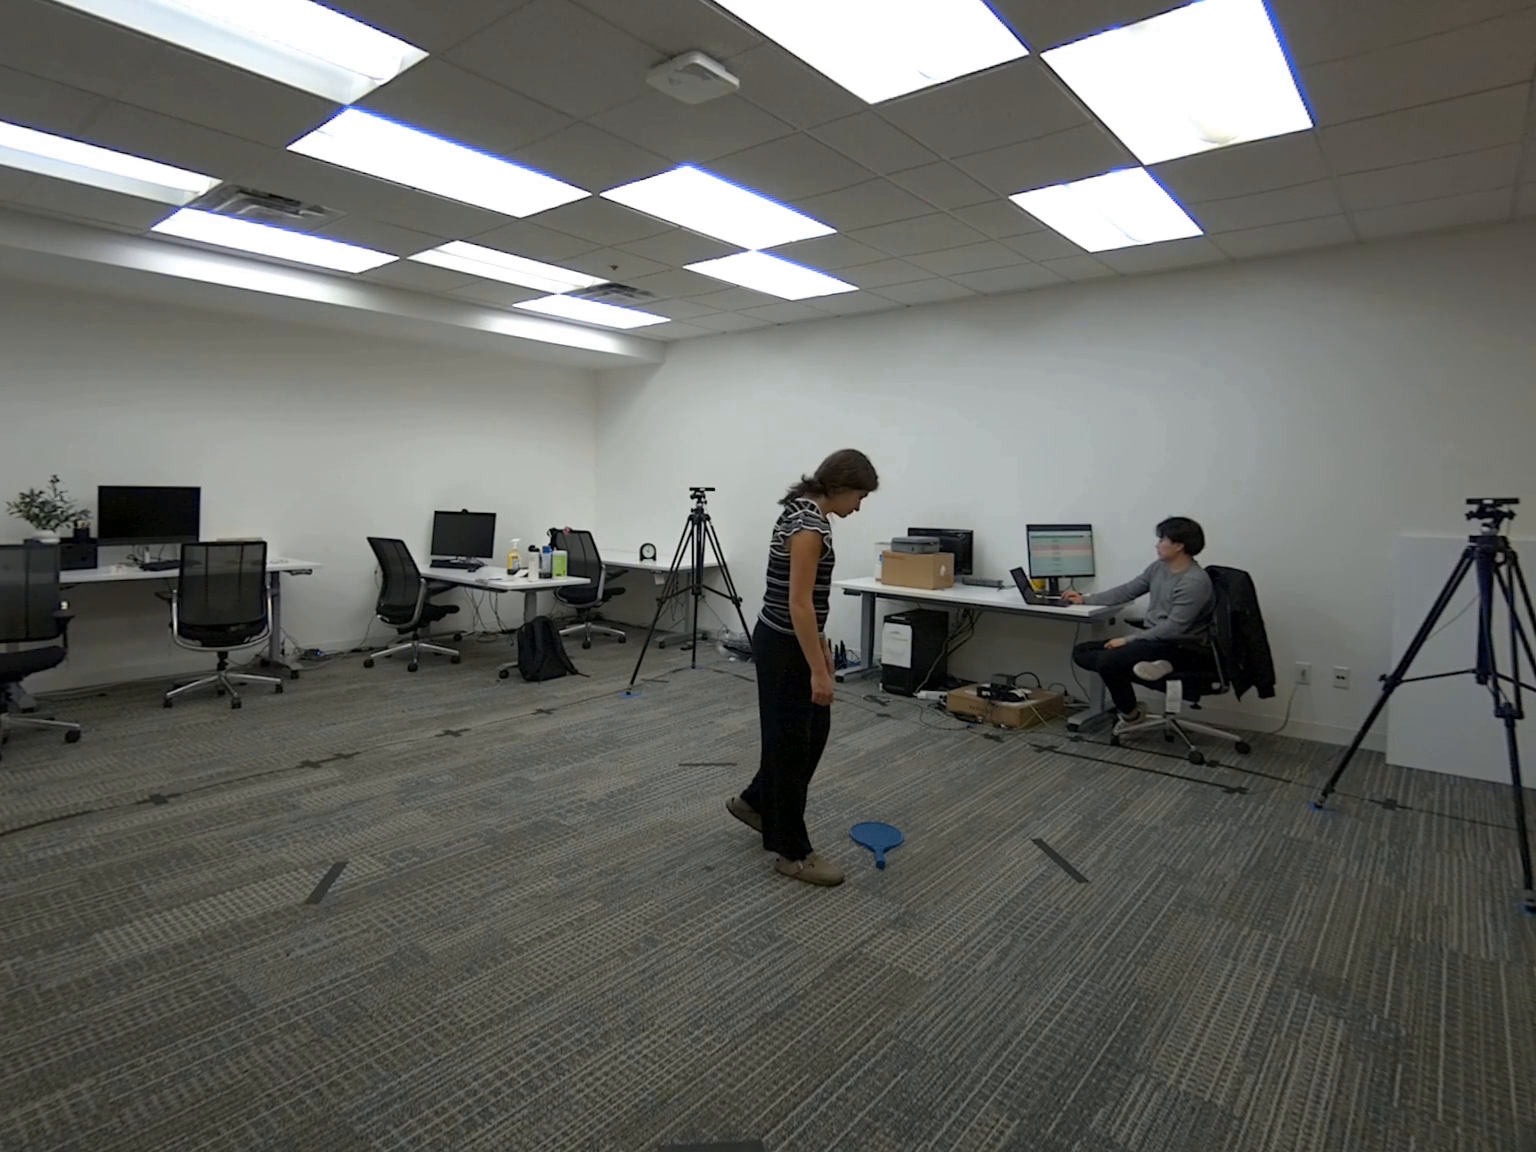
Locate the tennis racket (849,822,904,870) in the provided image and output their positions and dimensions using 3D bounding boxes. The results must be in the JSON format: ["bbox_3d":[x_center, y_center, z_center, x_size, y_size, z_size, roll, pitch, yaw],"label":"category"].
[{"bbox_3d":[0.423,1.046,3.351,0.215,0.031,0.432,1,4,3],"label":"tennis racket"}]
